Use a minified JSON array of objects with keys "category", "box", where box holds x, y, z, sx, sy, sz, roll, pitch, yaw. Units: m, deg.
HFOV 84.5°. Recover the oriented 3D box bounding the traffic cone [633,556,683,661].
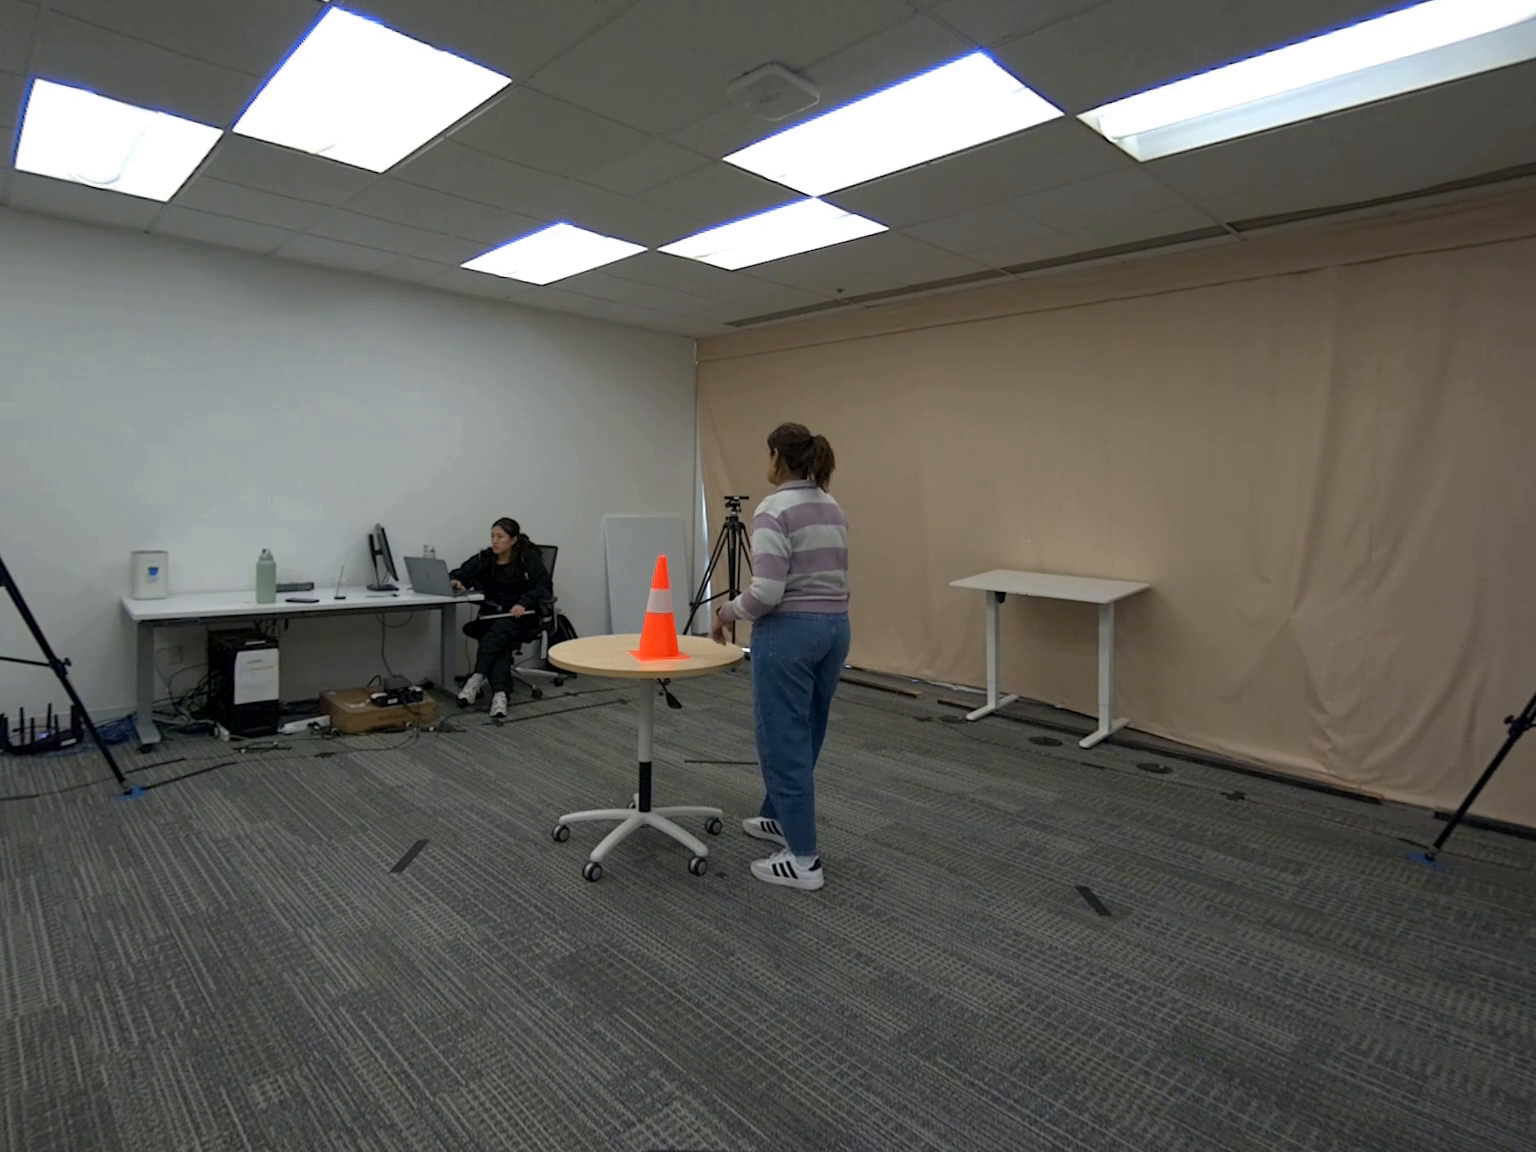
[{"category":"traffic cone","box":[-0.417,0.114,3.223,0.202,0.383,0.206,2,2,-19]}]
